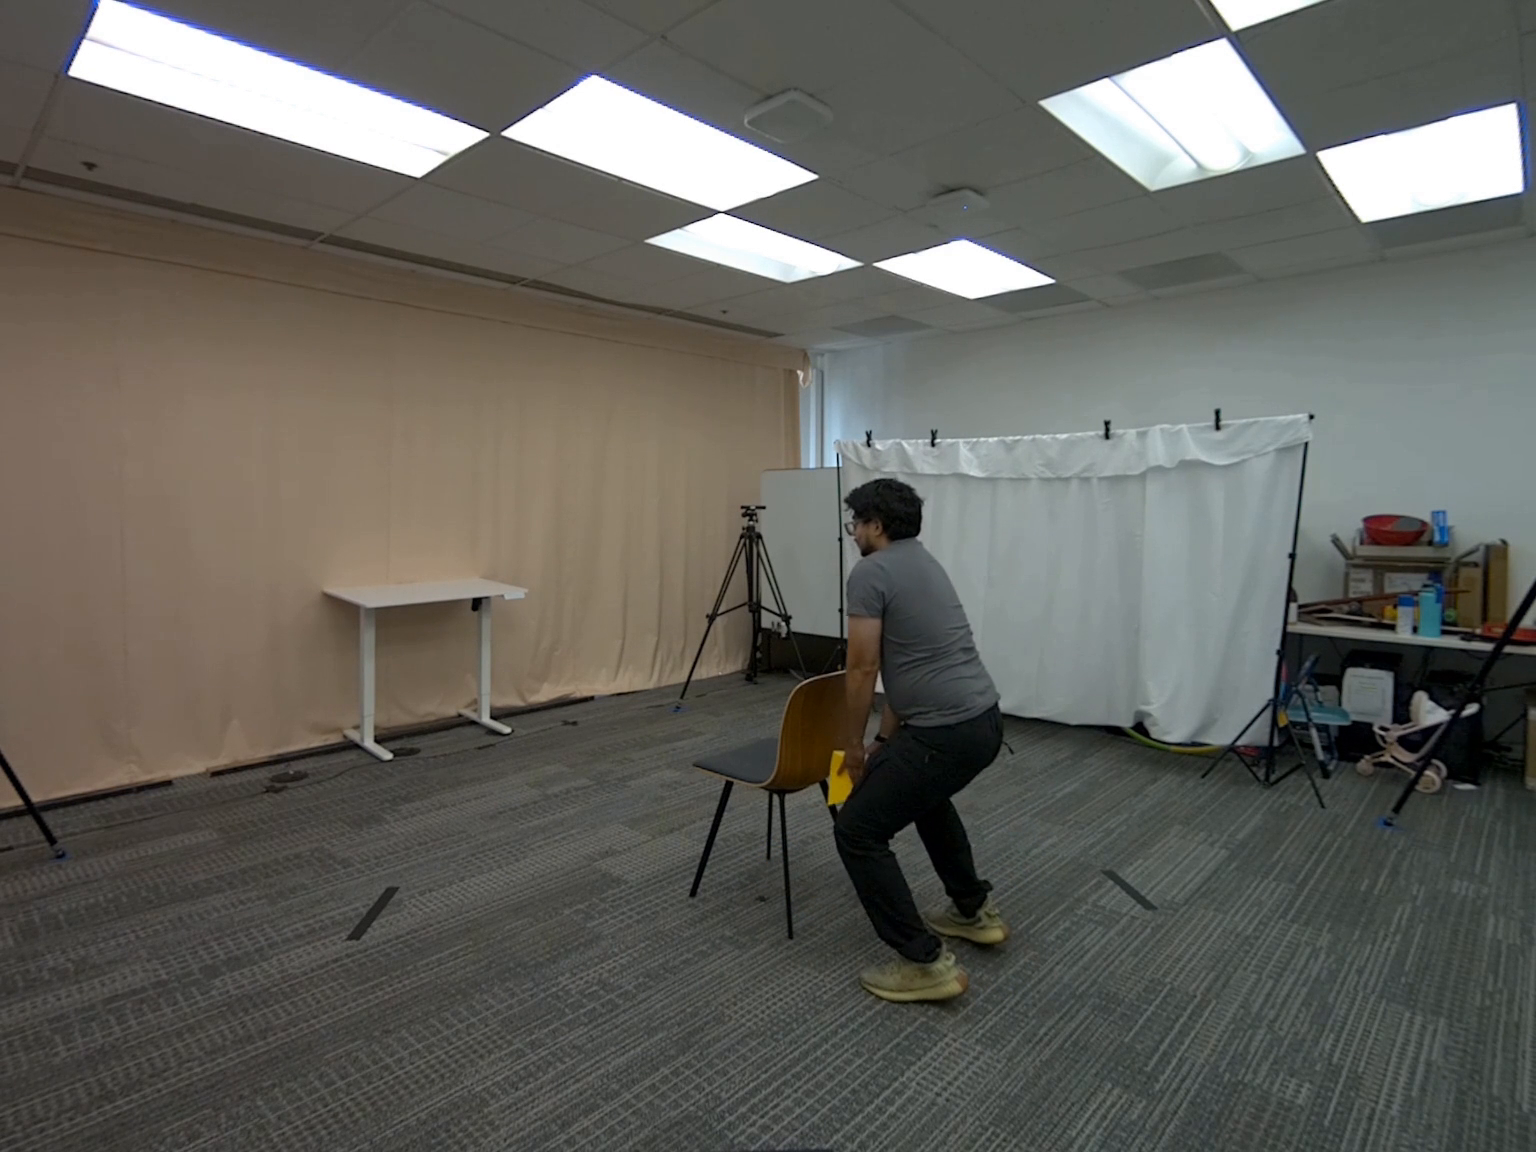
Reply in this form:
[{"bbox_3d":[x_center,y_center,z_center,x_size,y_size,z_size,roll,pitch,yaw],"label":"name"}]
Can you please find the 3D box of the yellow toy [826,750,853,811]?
[{"bbox_3d":[0.298,0.641,2.749,0.209,0.230,0.190,-25,5,34],"label":"yellow toy"}]
